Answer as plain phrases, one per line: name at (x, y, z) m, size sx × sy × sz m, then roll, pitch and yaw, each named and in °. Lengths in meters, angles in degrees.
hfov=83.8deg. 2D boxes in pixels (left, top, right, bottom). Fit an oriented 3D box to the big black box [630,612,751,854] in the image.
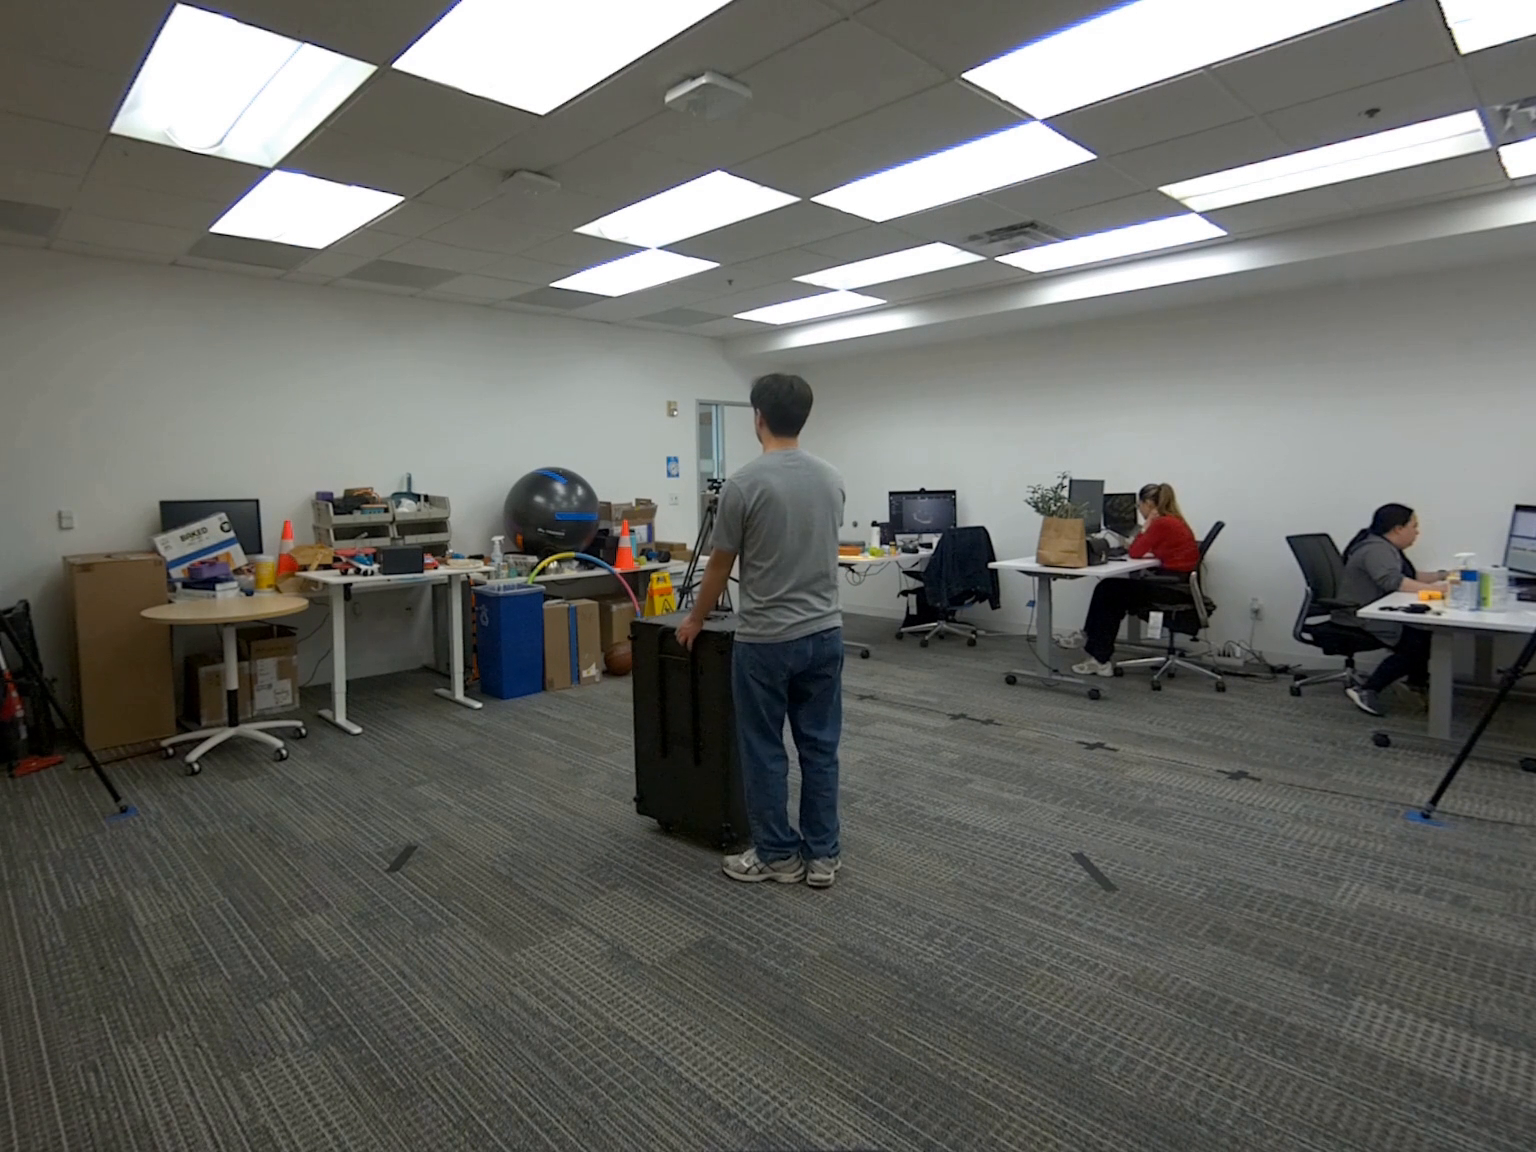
big black box at (-0.242, 0.596, 3.373) m, size 0.537 × 0.858 × 0.386 m, roll 3°, pitch 6°, yaw 37°
